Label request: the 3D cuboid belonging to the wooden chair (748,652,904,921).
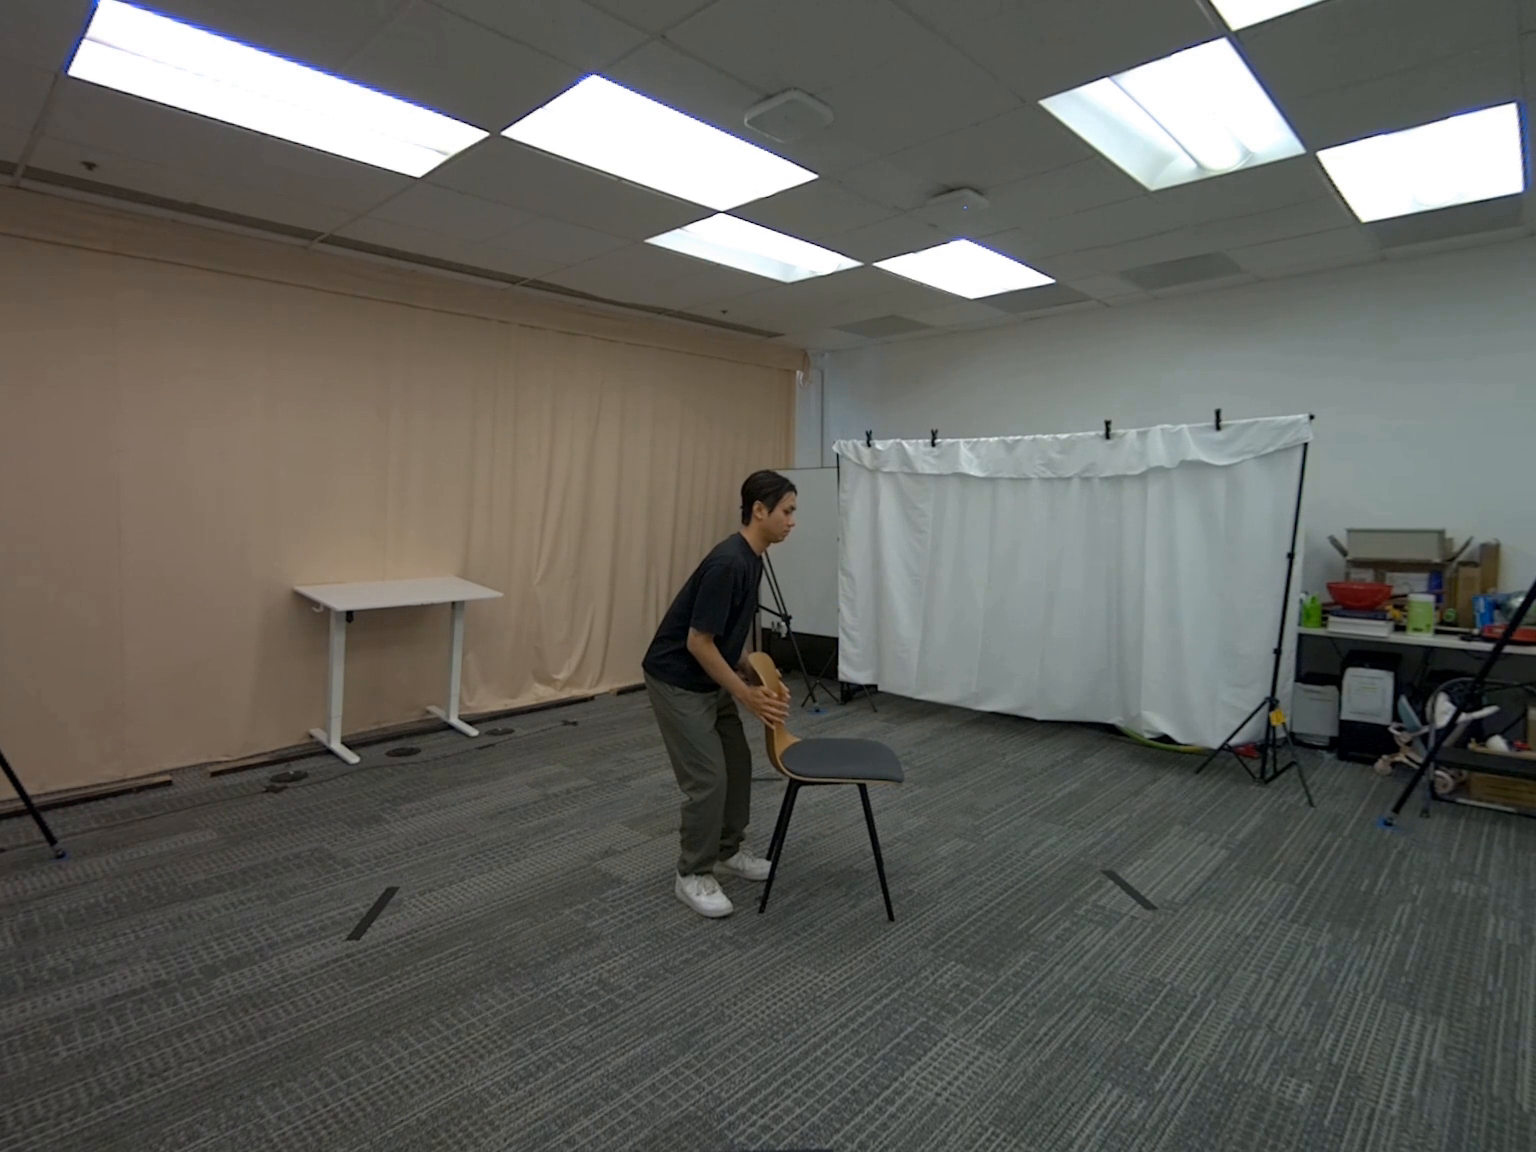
[{"bbox_3d":[0.225,0.712,3.031,0.526,0.876,0.476,-4,2,5],"label":"wooden chair"}]
